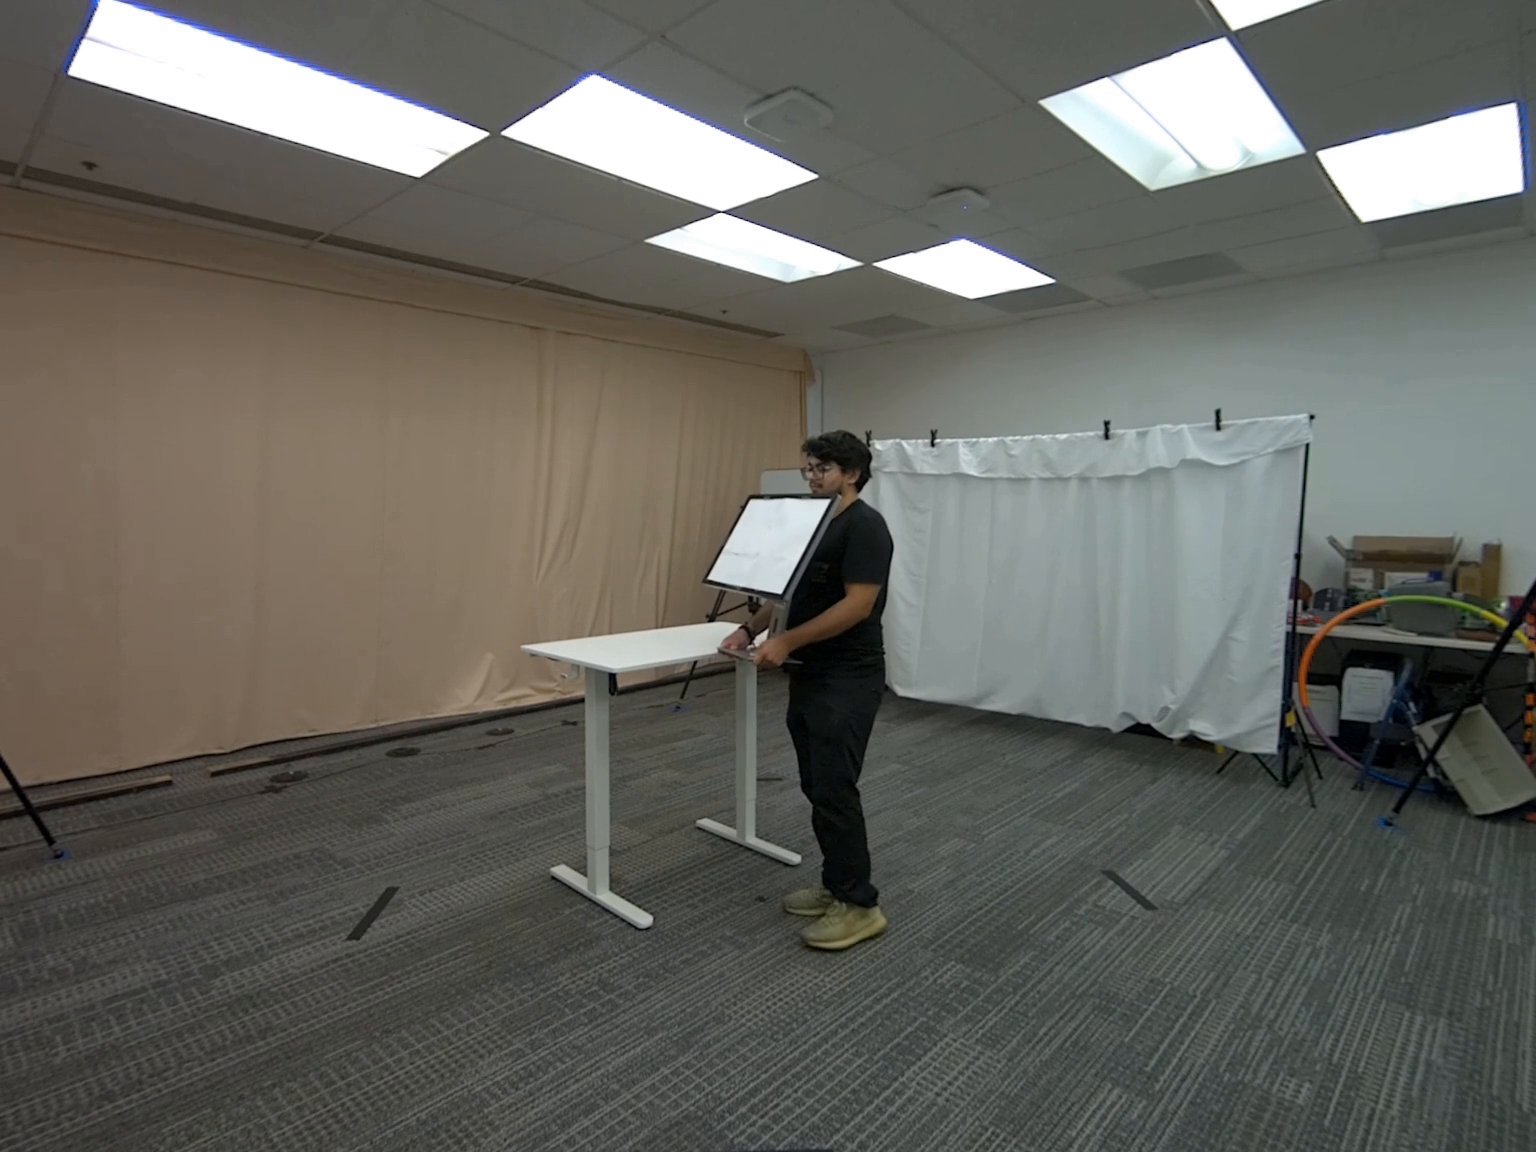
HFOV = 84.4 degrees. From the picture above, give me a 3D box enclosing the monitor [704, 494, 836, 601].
[{"bbox_3d":[0.027,0.005,2.745,0.204,0.555,0.582,25,-9,-29],"label":"monitor"}]
